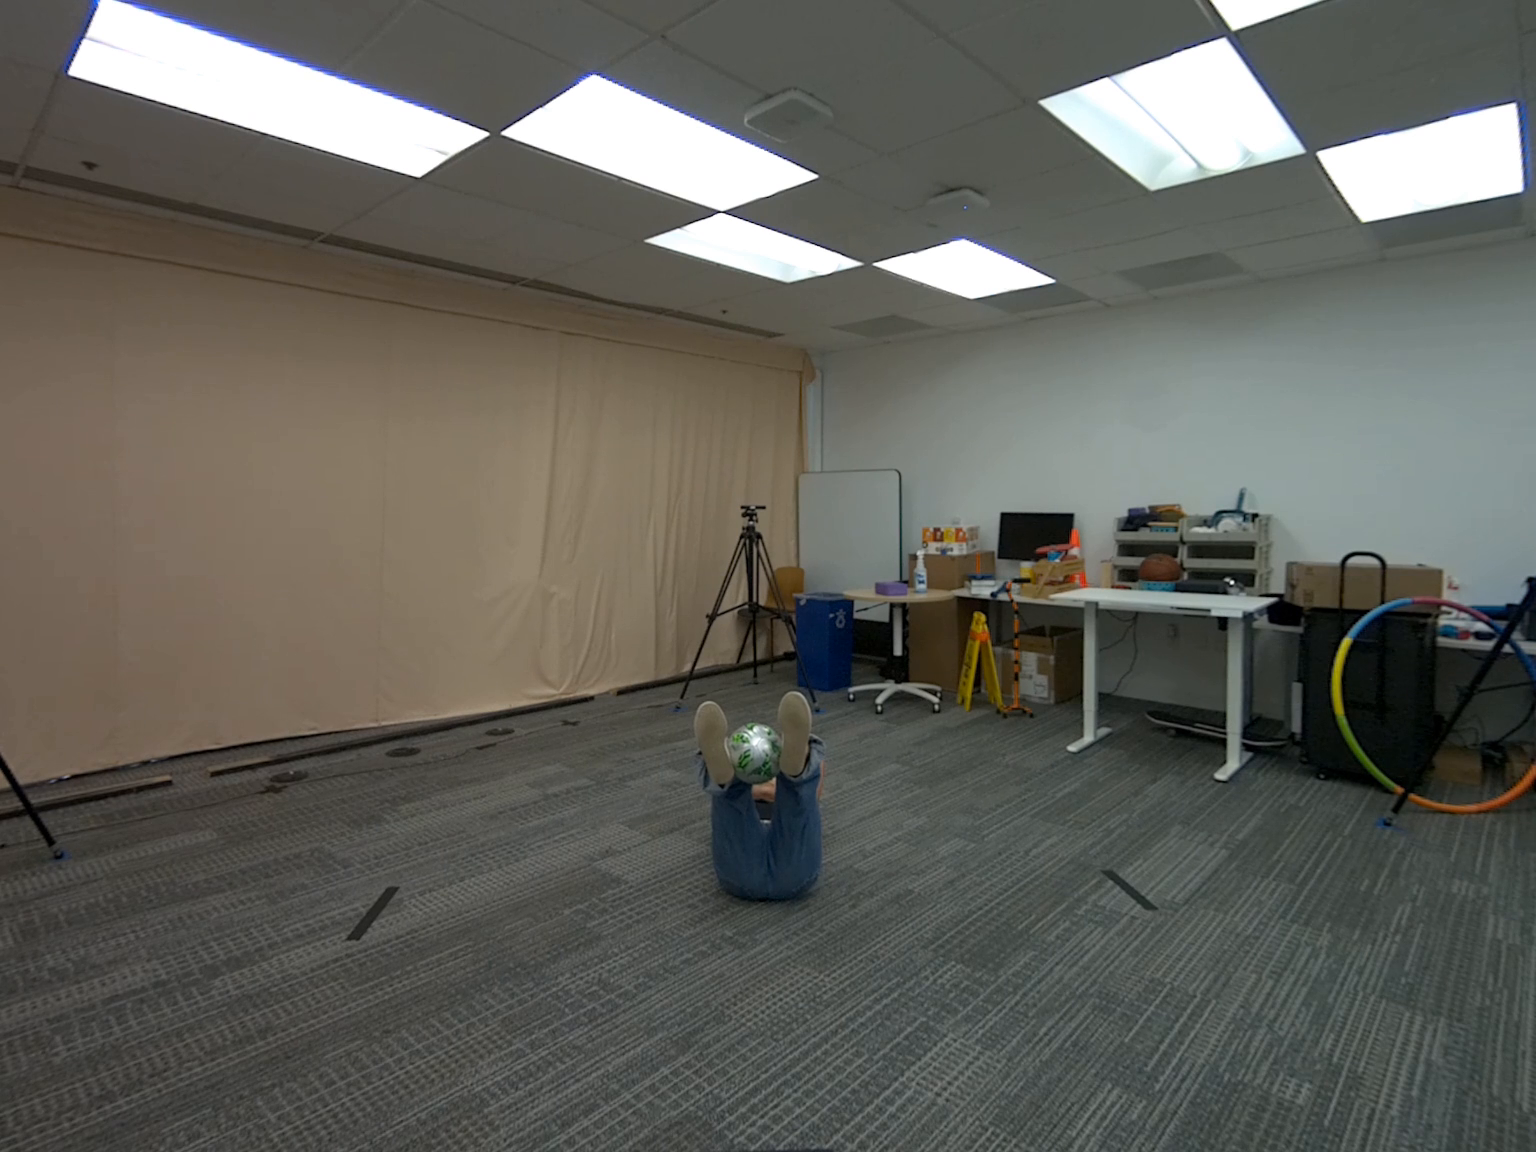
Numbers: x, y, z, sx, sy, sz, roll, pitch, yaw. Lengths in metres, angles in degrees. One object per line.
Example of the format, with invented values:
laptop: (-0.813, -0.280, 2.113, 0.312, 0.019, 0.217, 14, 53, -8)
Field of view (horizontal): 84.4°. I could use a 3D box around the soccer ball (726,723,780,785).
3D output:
soccer ball: (-0.029, 0.569, 2.648, 0.187, 0.187, 0.188, 3, 4, -2)
